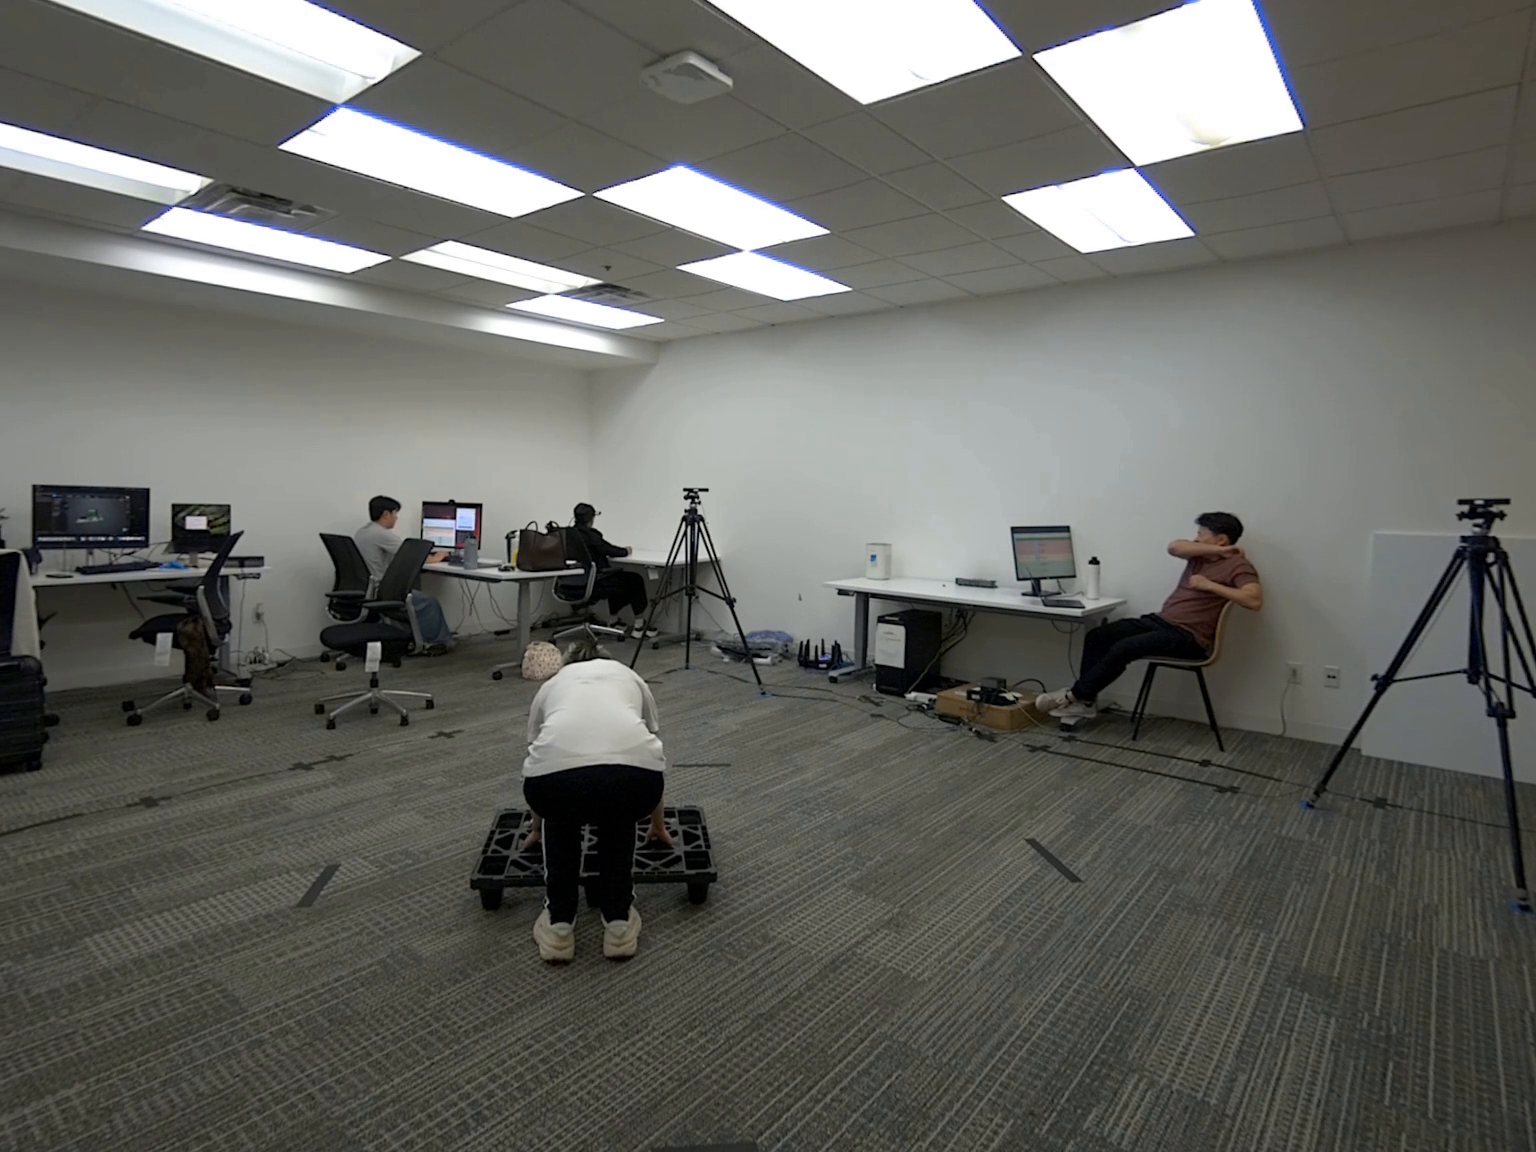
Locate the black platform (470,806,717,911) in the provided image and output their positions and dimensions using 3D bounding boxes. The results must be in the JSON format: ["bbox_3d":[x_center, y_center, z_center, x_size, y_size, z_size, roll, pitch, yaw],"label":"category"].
[{"bbox_3d":[-0.610,0.997,3.039,0.800,0.143,0.612,0,6,-7],"label":"black platform"}]
